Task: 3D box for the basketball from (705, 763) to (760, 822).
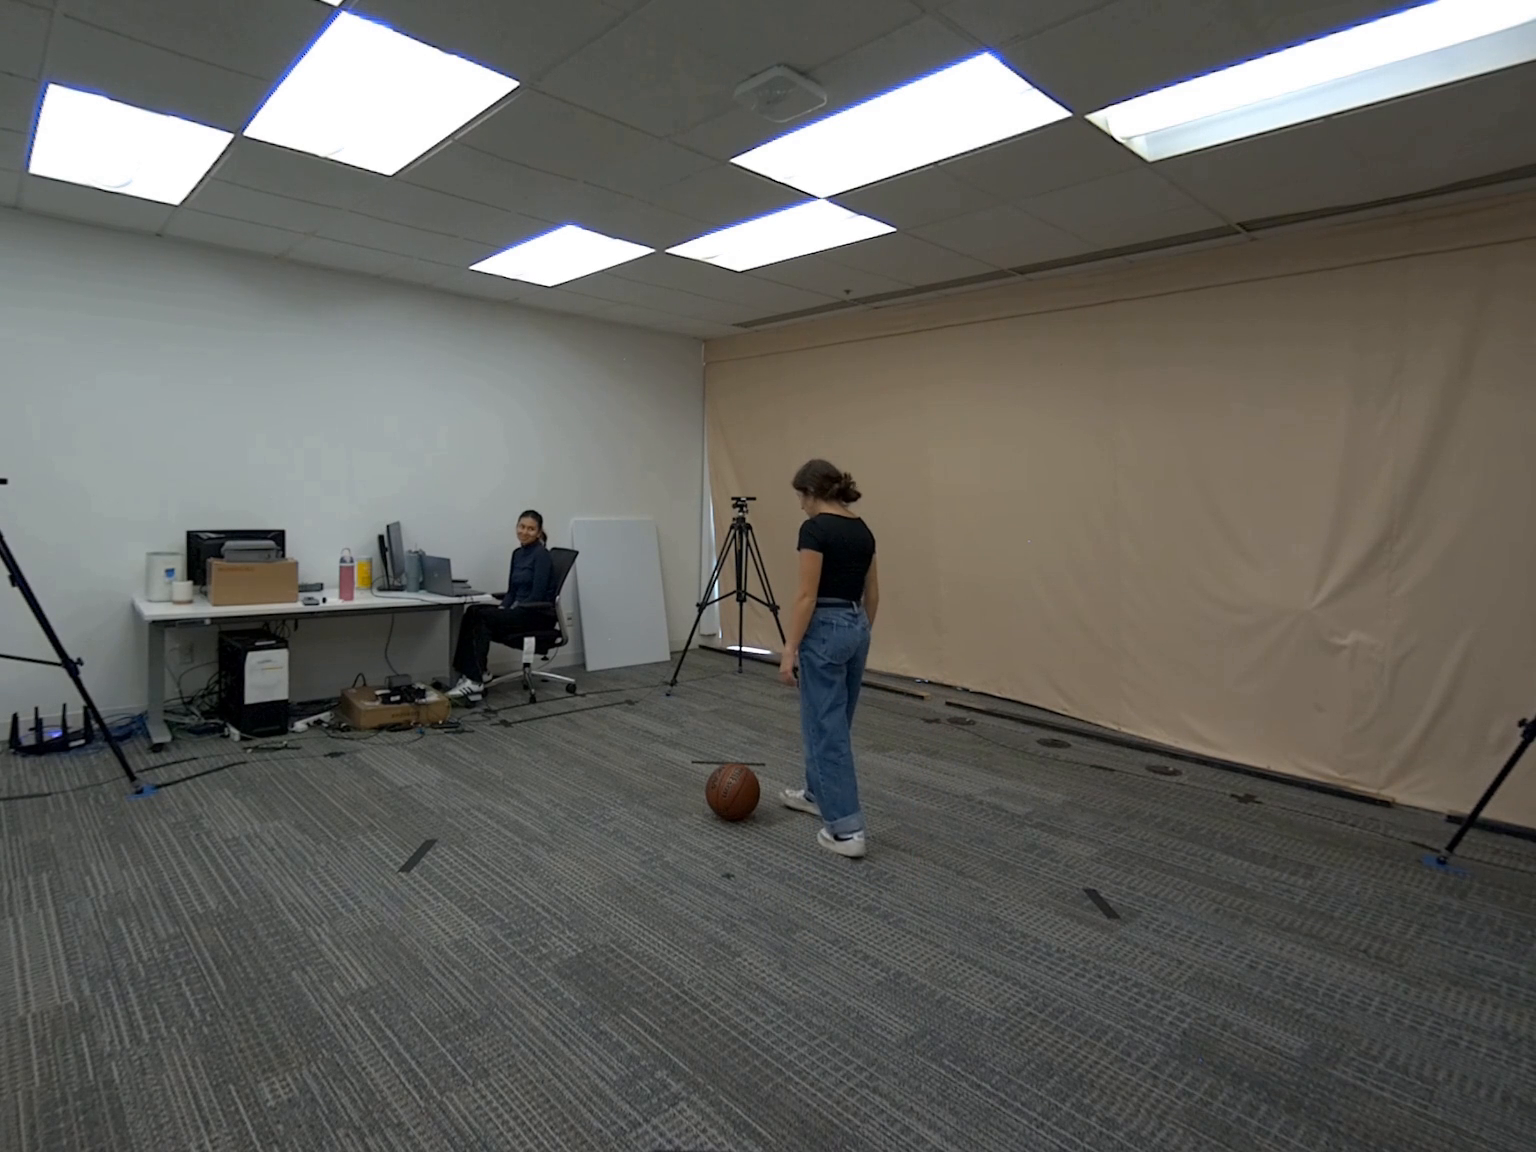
[{"bbox_3d":[-0.167,0.939,3.664,0.236,0.235,0.237,1,4,-1],"label":"basketball"}]
